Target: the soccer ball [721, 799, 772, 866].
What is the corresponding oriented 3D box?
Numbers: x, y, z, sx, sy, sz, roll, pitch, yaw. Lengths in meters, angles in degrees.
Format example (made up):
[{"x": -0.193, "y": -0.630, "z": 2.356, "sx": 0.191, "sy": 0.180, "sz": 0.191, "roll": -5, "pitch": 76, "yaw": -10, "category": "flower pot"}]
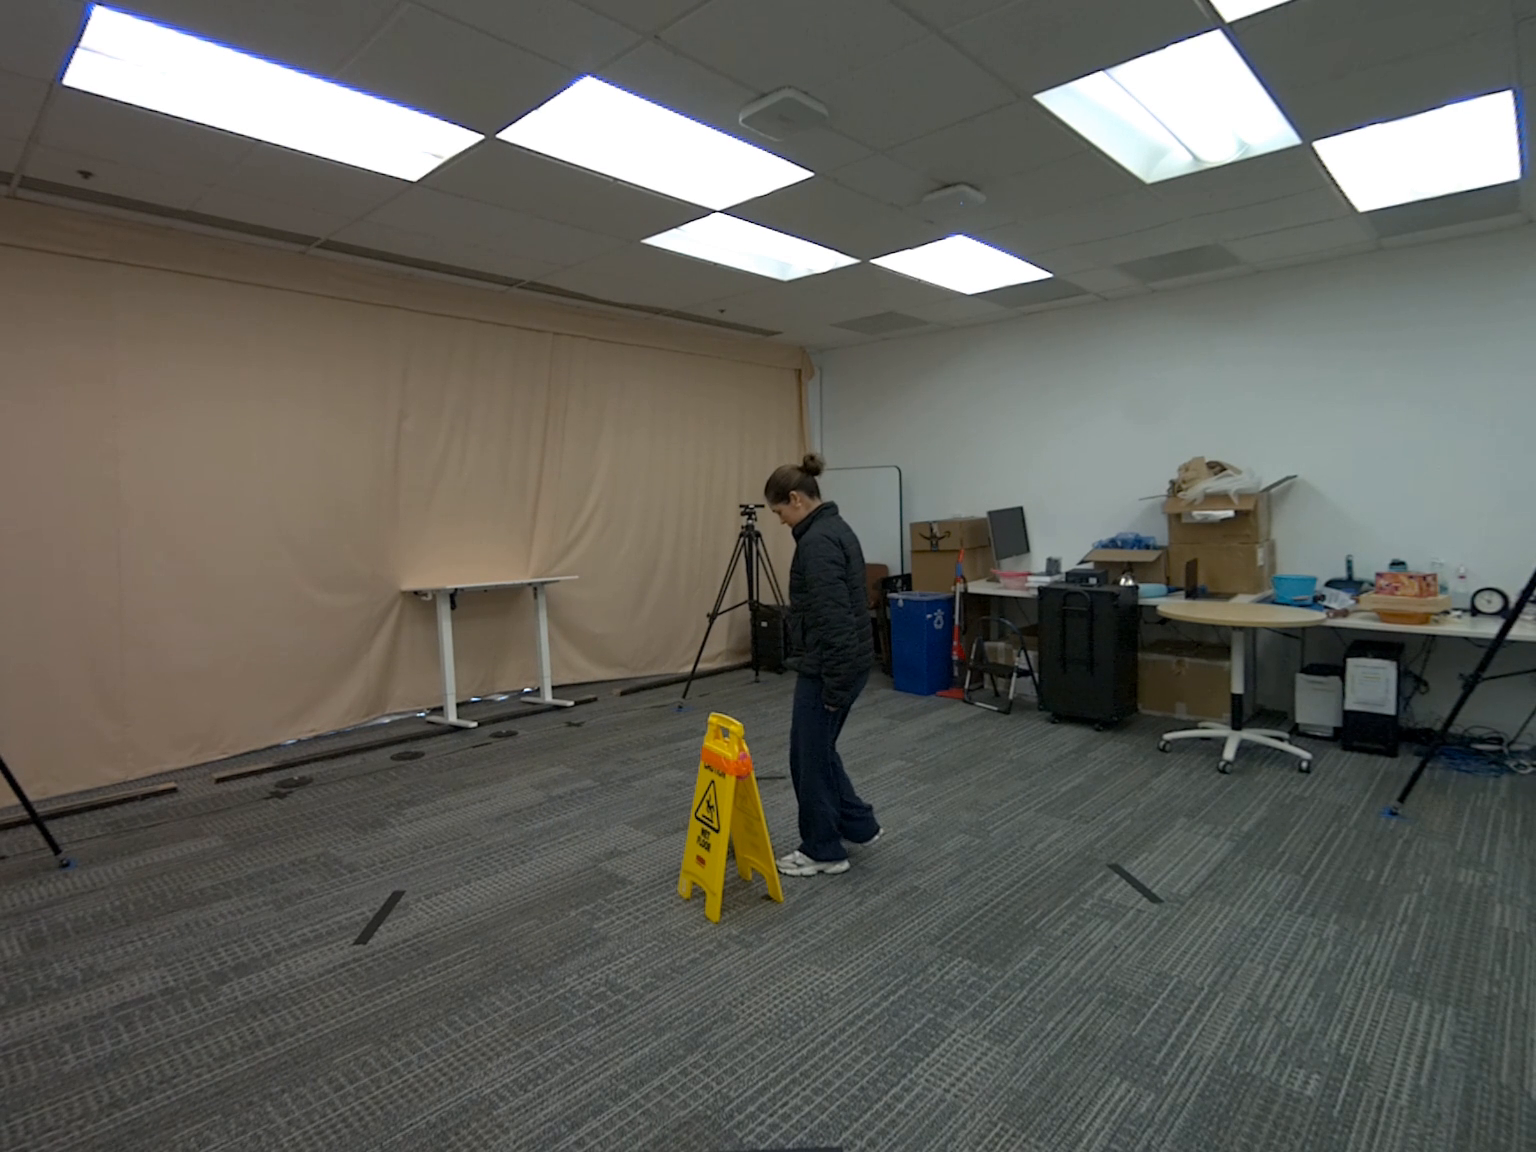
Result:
[{"x": -0.089, "y": 1.012, "z": 3.357, "sx": 0.187, "sy": 0.187, "sz": 0.188, "roll": -1, "pitch": 4, "yaw": -2, "category": "soccer ball"}]
